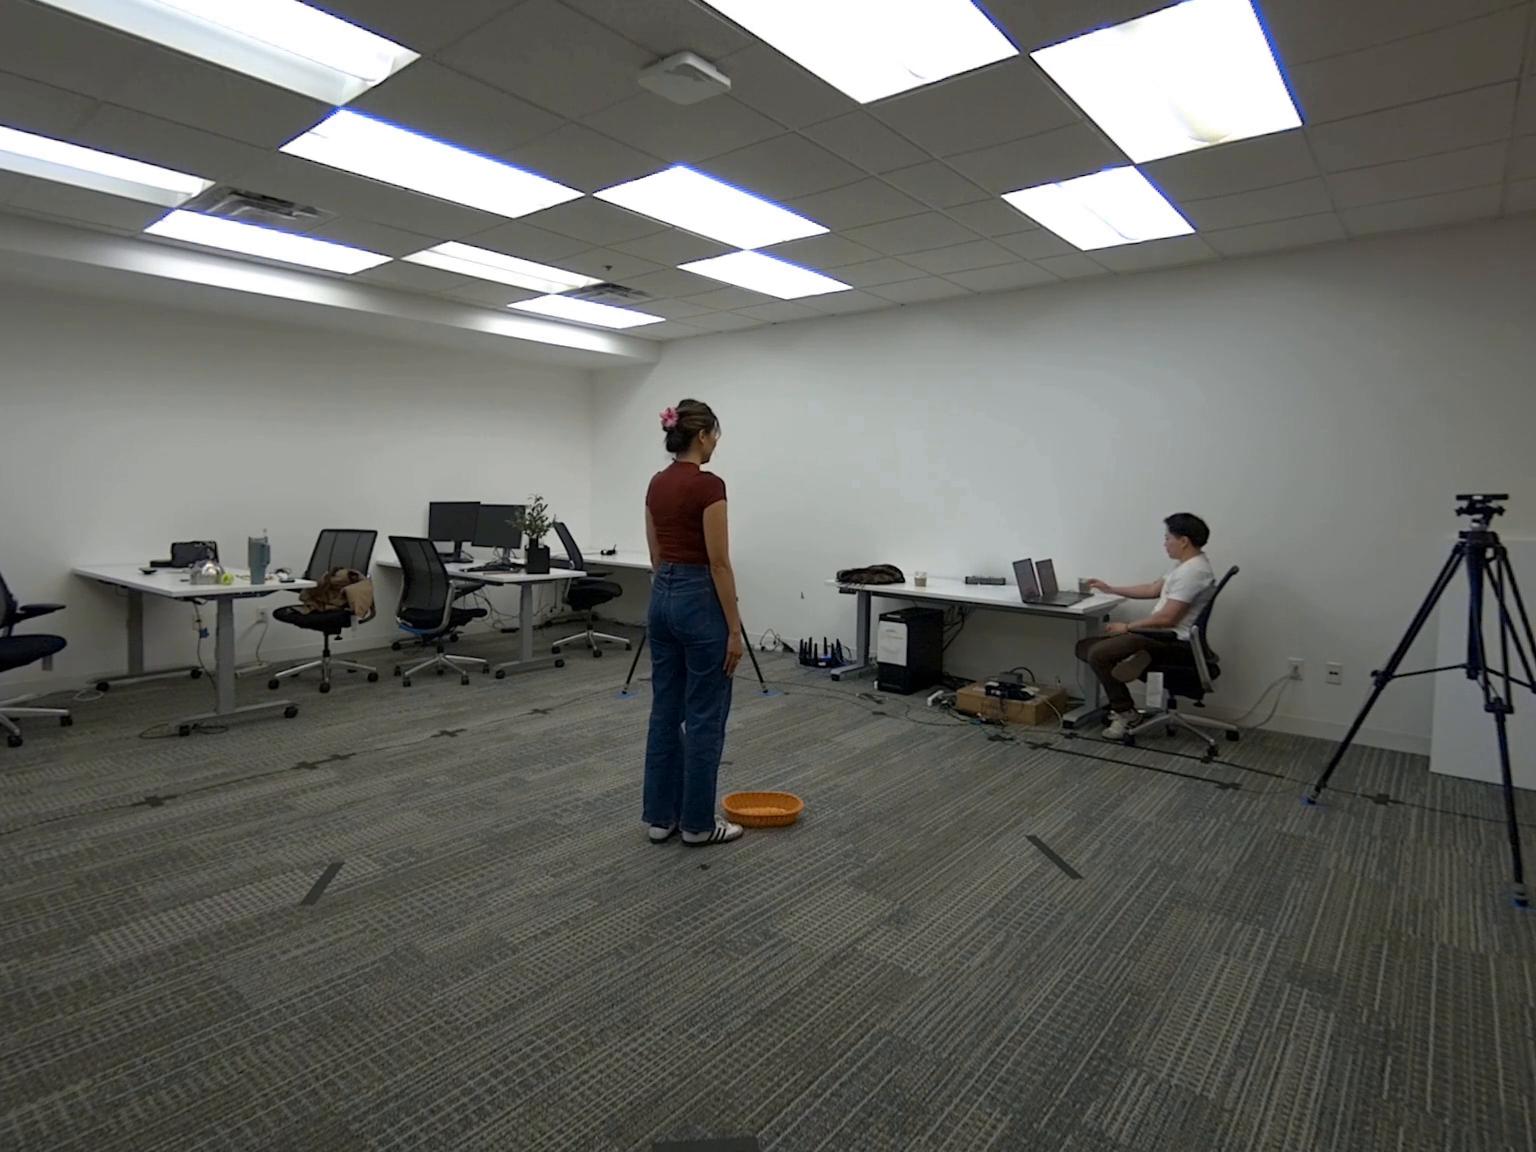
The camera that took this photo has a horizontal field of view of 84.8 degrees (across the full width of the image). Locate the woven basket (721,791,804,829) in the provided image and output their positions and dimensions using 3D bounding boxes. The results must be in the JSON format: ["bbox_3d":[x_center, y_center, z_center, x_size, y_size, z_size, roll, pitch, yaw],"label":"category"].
[{"bbox_3d":[-0.033,0.982,3.582,0.349,0.073,0.255,1,7,-5],"label":"woven basket"}]
